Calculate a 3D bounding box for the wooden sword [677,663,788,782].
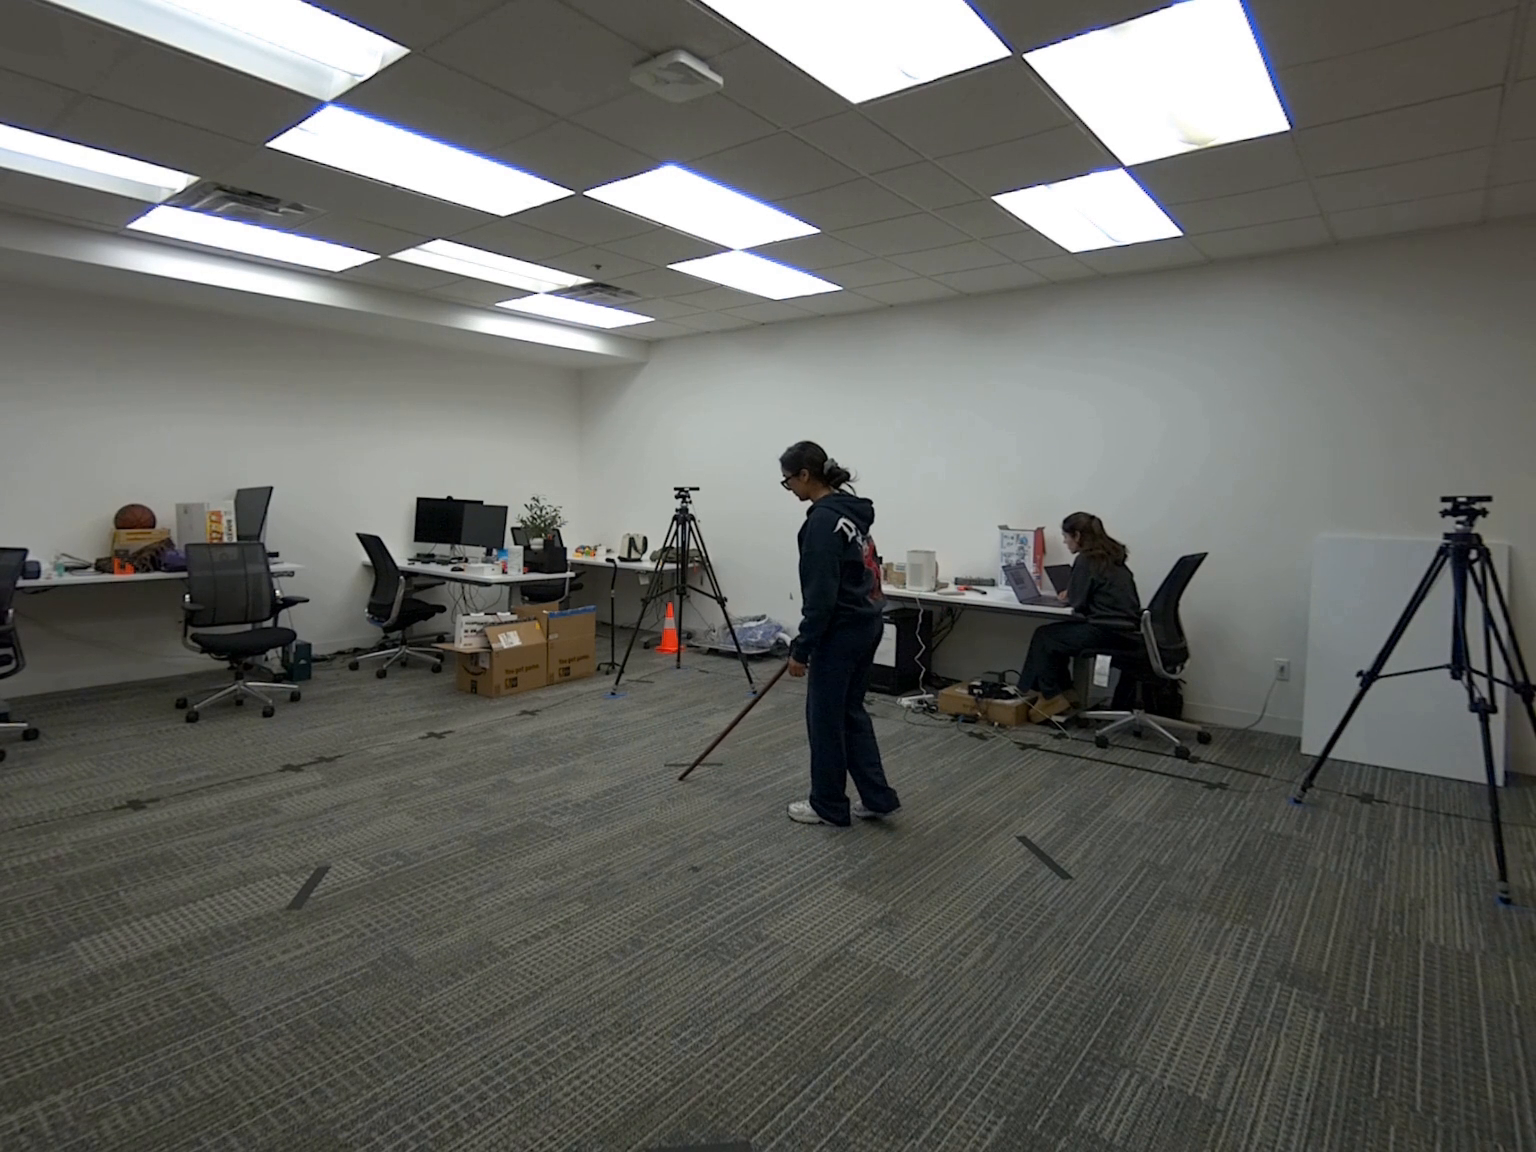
[{"bbox_3d":[-0.095,0.596,4.009,0.024,1.025,0.051,42,6,-6],"label":"wooden sword"}]
